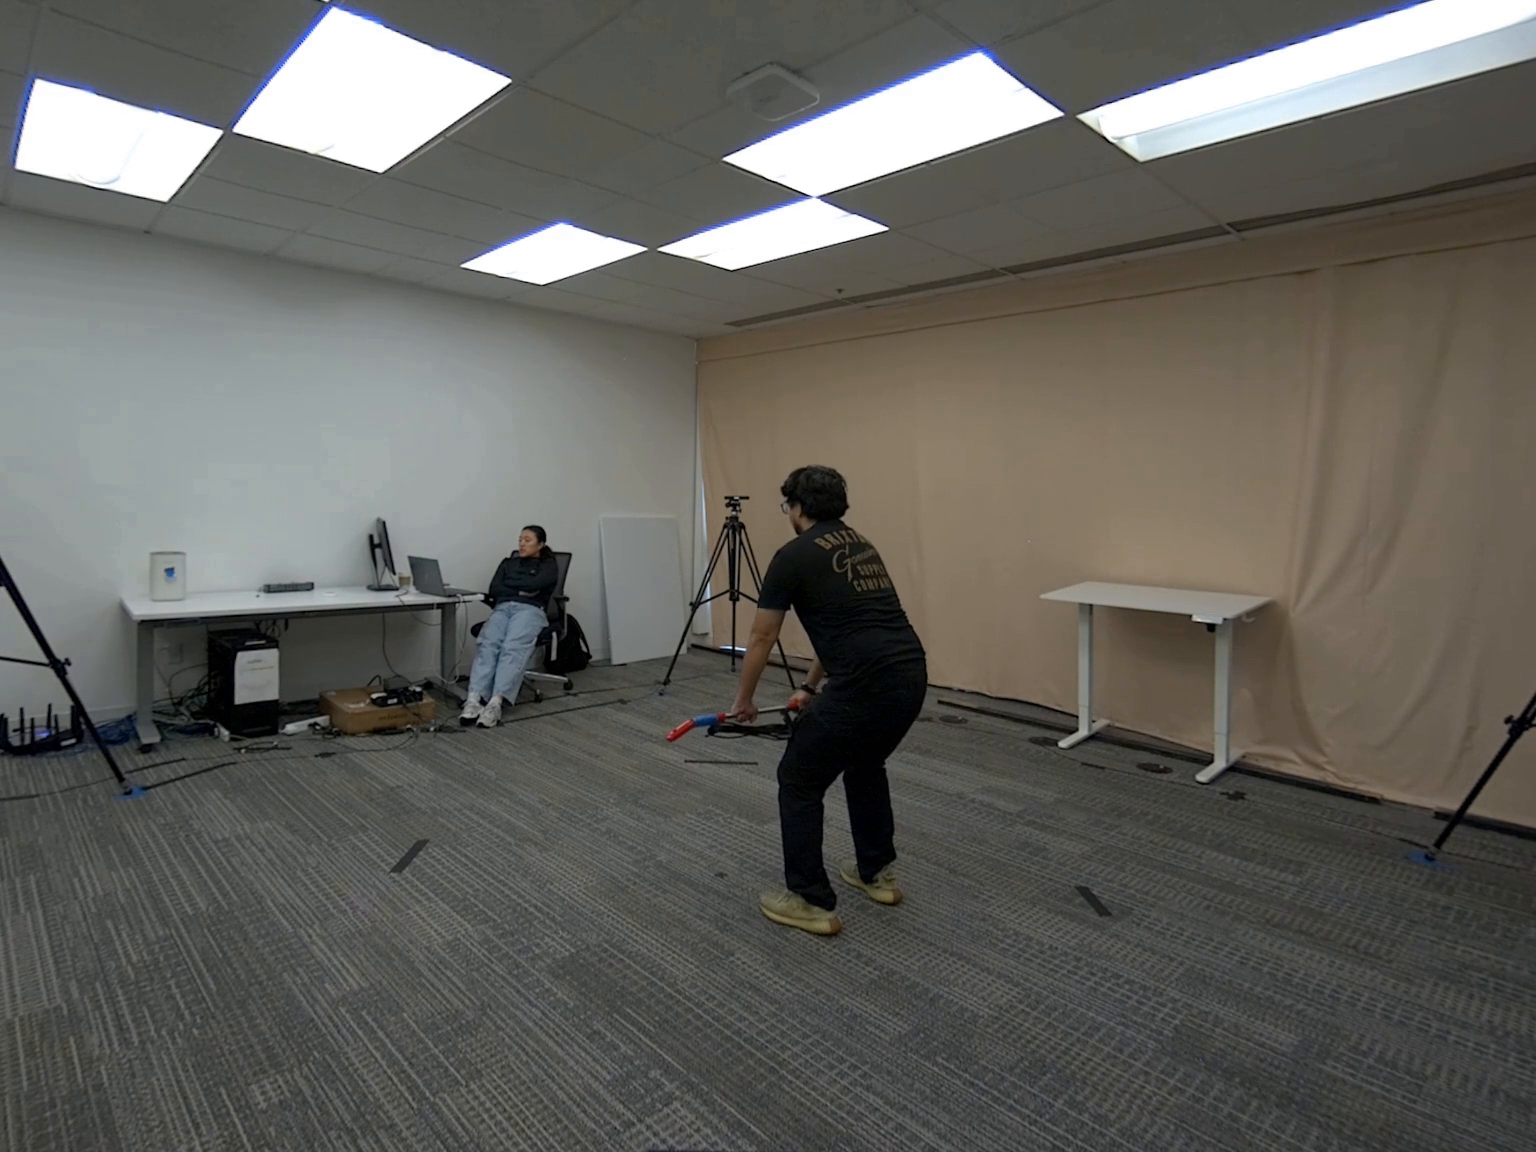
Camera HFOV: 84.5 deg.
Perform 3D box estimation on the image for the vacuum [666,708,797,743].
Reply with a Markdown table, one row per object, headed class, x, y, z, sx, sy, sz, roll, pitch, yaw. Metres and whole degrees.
| class | x | y | z | sx | sy | sz | roll | pitch | yaw |
| --- | --- | --- | --- | --- | --- | --- | --- | --- | --- |
| vacuum | 0.034 | 0.535 | 3.103 | 1.025 | 0.143 | 0.260 | -2 | 11 | -40 |
